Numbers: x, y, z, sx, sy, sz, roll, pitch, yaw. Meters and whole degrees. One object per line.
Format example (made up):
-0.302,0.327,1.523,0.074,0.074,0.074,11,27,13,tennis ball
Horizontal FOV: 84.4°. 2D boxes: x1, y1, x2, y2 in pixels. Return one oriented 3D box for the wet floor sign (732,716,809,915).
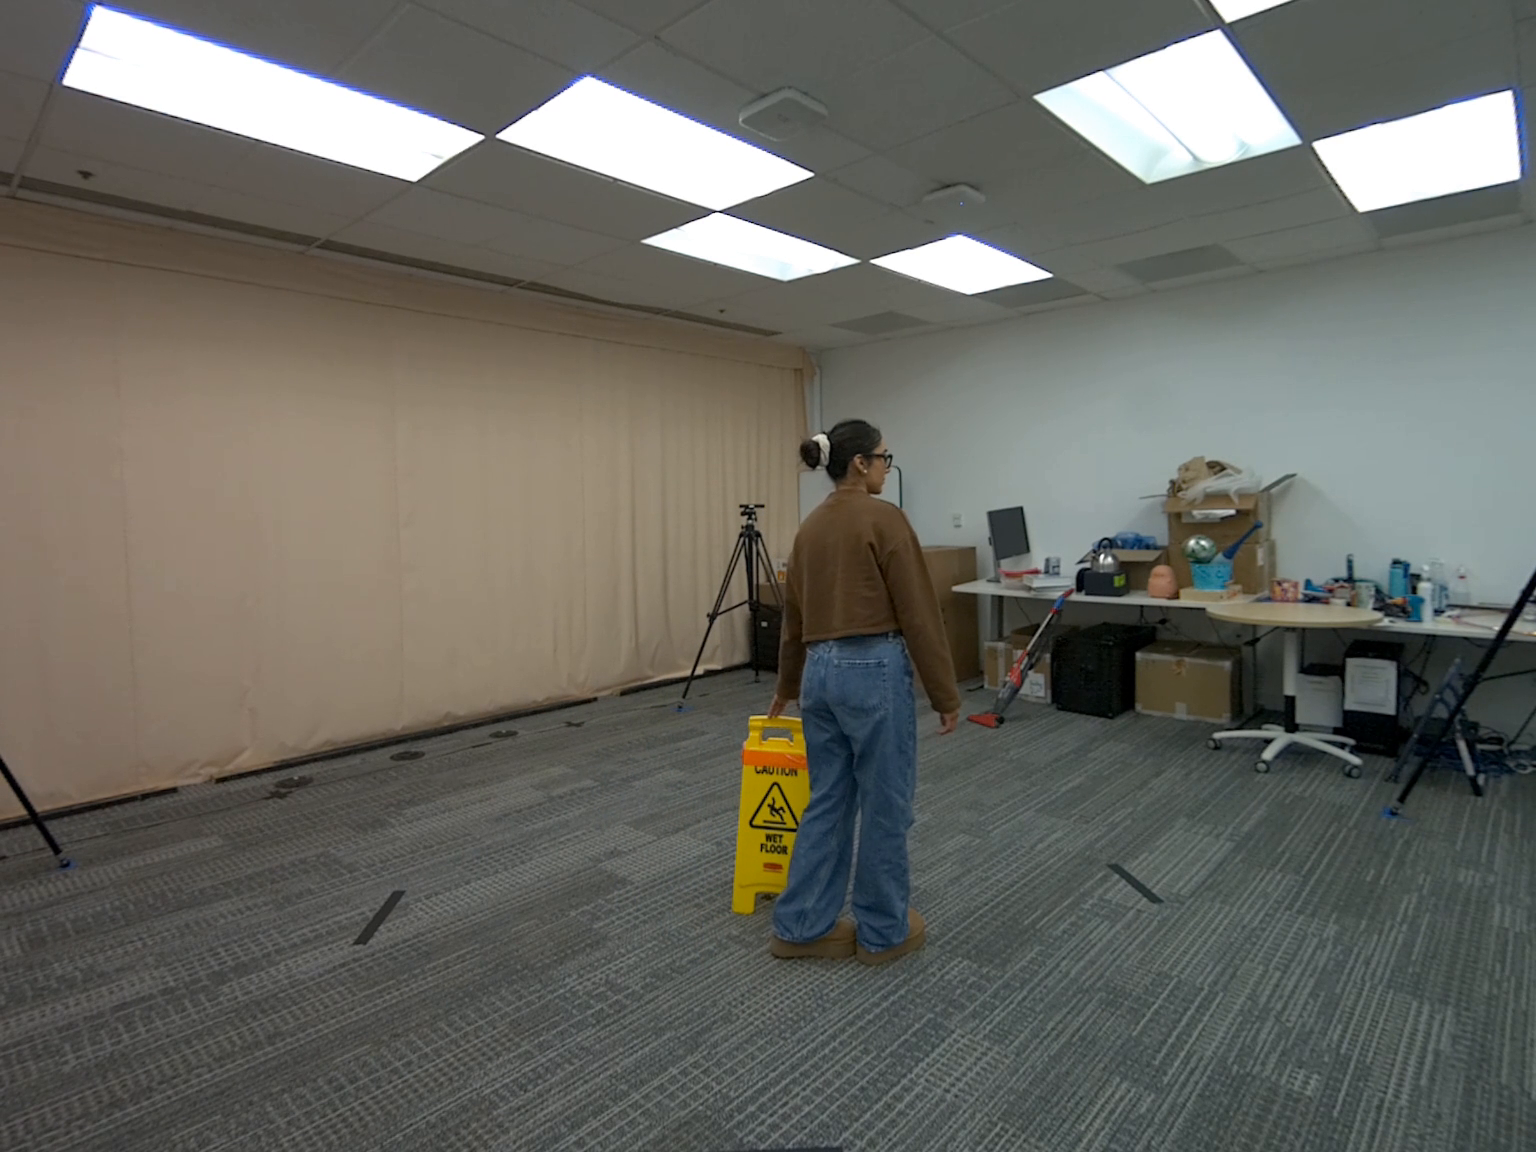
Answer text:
0.041,0.815,2.963,0.286,0.645,0.286,1,3,13,wet floor sign
